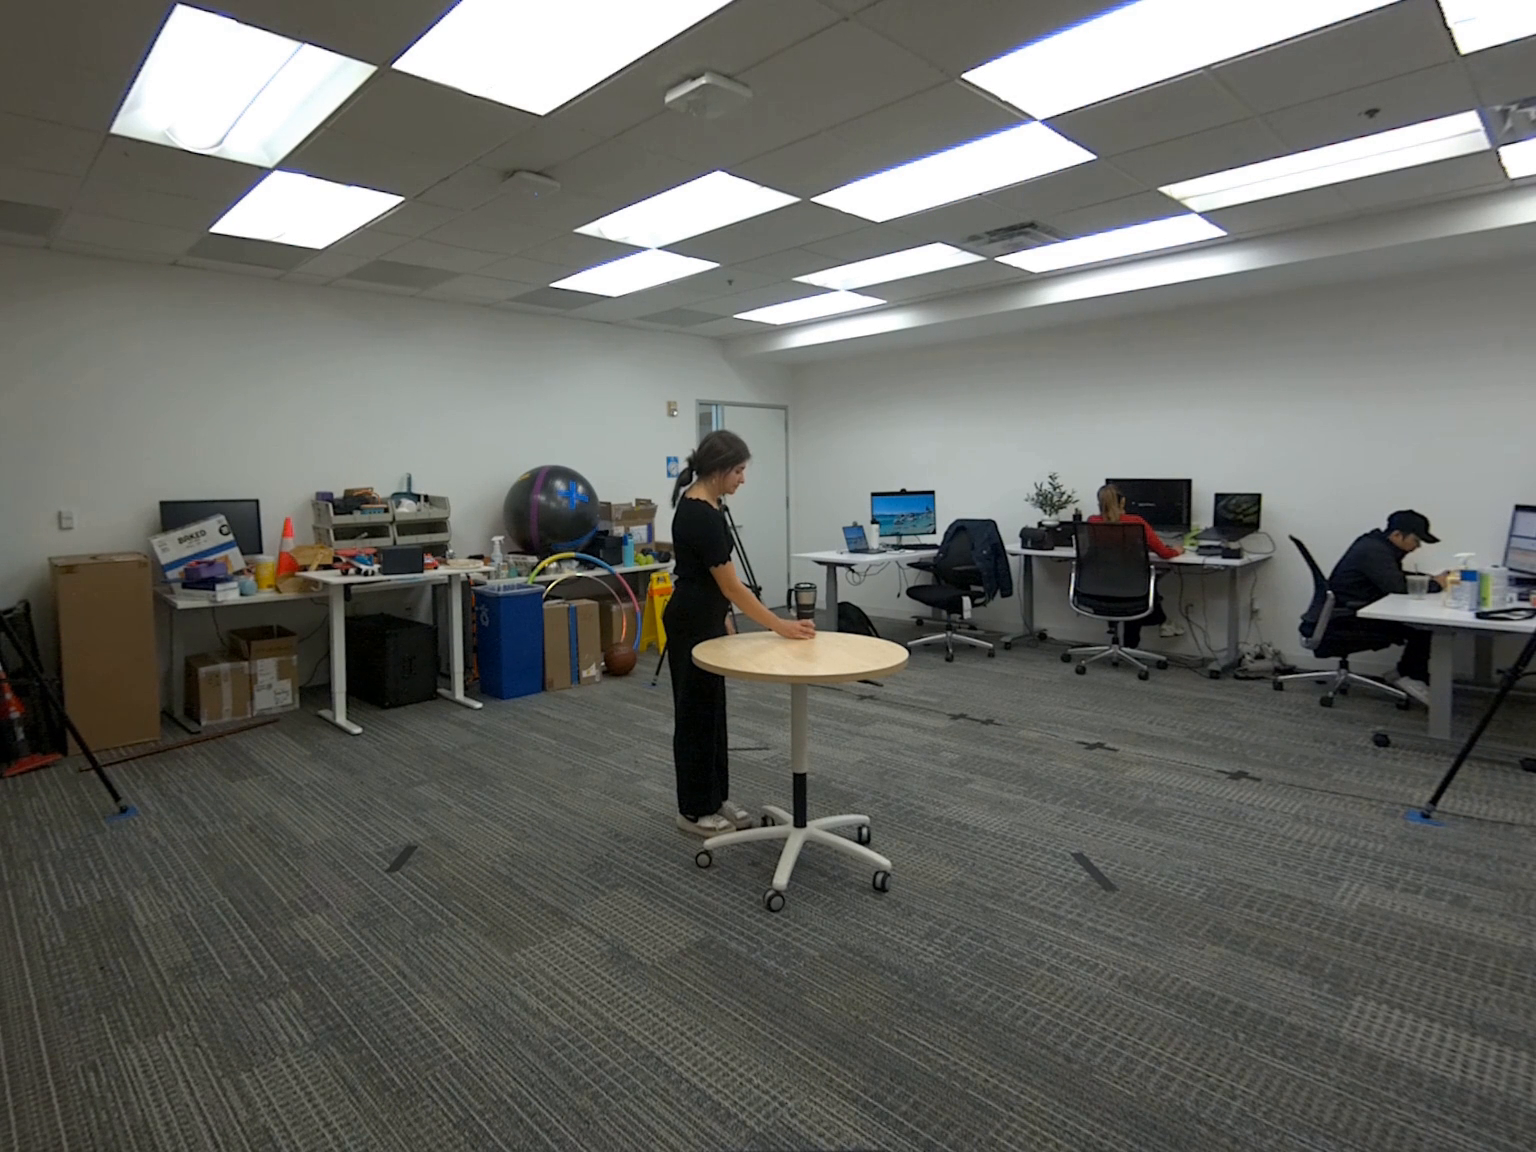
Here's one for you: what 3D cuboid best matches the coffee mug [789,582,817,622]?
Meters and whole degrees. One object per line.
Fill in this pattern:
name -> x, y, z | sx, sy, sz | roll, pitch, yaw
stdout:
coffee mug -> 0.132, 0.133, 3.320 | 0.086, 0.201, 0.125 | -7, 10, -25
